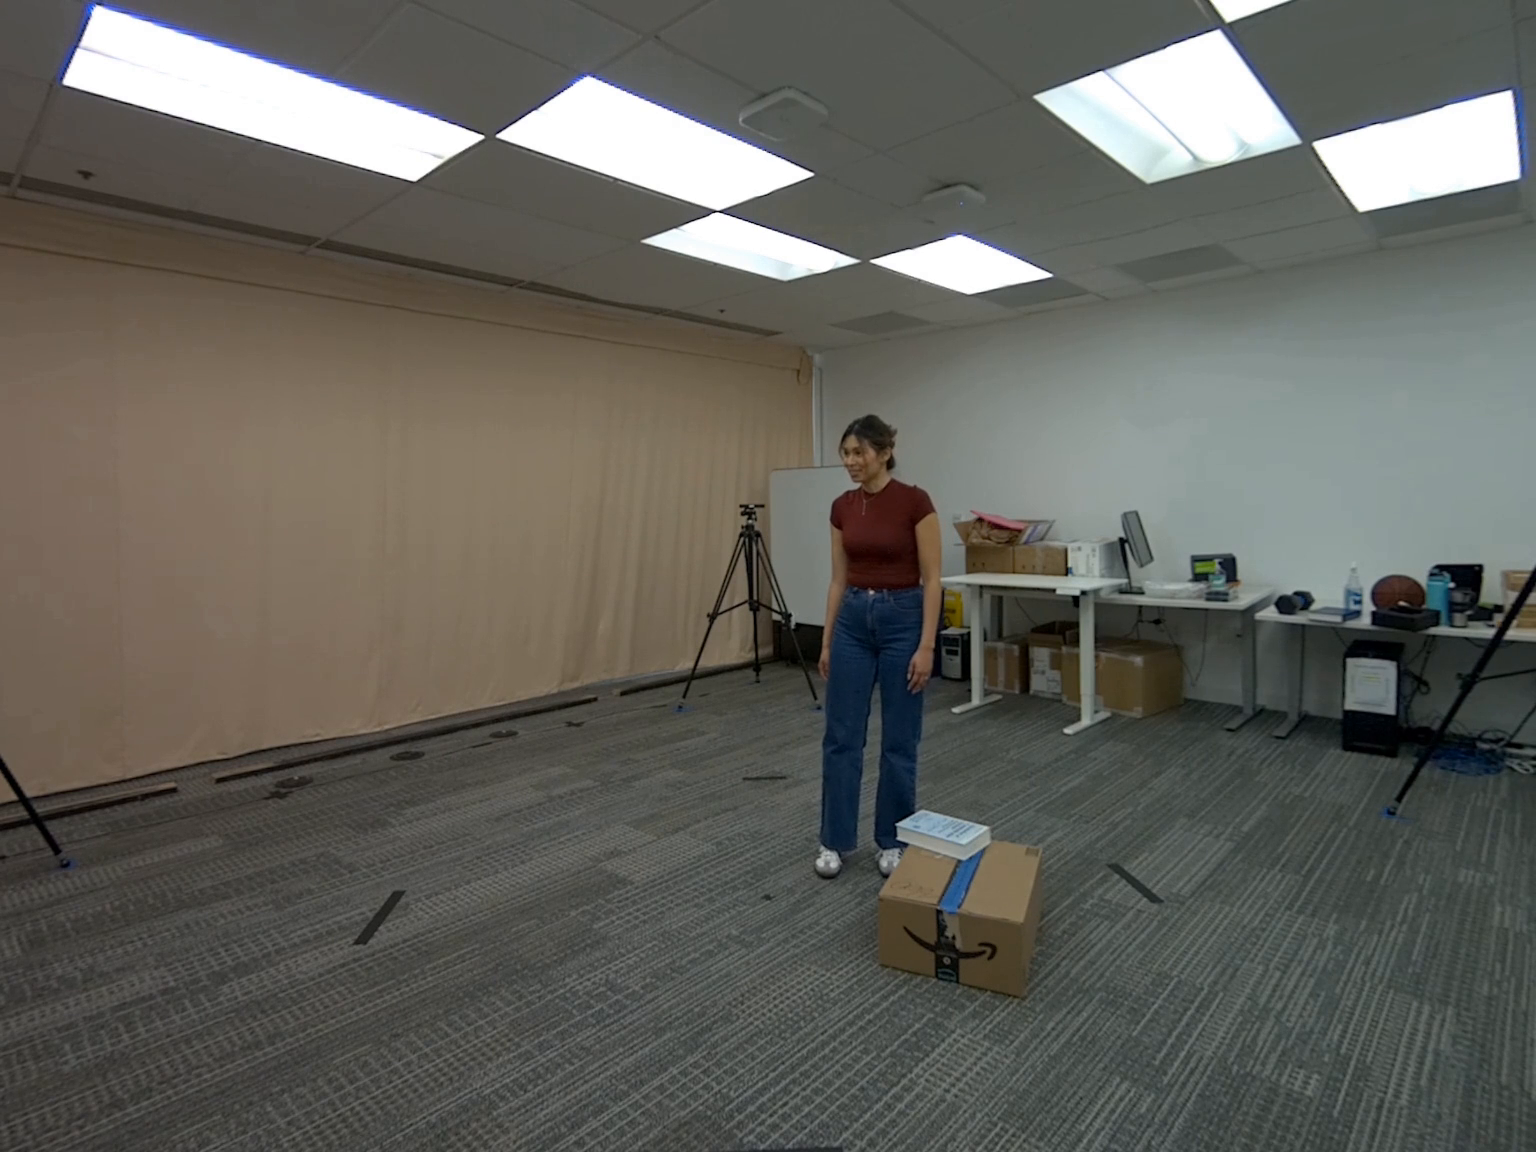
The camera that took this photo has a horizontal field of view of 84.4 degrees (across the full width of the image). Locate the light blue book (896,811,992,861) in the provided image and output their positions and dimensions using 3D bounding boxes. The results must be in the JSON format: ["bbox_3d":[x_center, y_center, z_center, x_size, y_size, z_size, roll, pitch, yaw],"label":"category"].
[{"bbox_3d":[0.605,0.887,2.909,0.269,0.059,0.186,3,7,42],"label":"light blue book"}]
